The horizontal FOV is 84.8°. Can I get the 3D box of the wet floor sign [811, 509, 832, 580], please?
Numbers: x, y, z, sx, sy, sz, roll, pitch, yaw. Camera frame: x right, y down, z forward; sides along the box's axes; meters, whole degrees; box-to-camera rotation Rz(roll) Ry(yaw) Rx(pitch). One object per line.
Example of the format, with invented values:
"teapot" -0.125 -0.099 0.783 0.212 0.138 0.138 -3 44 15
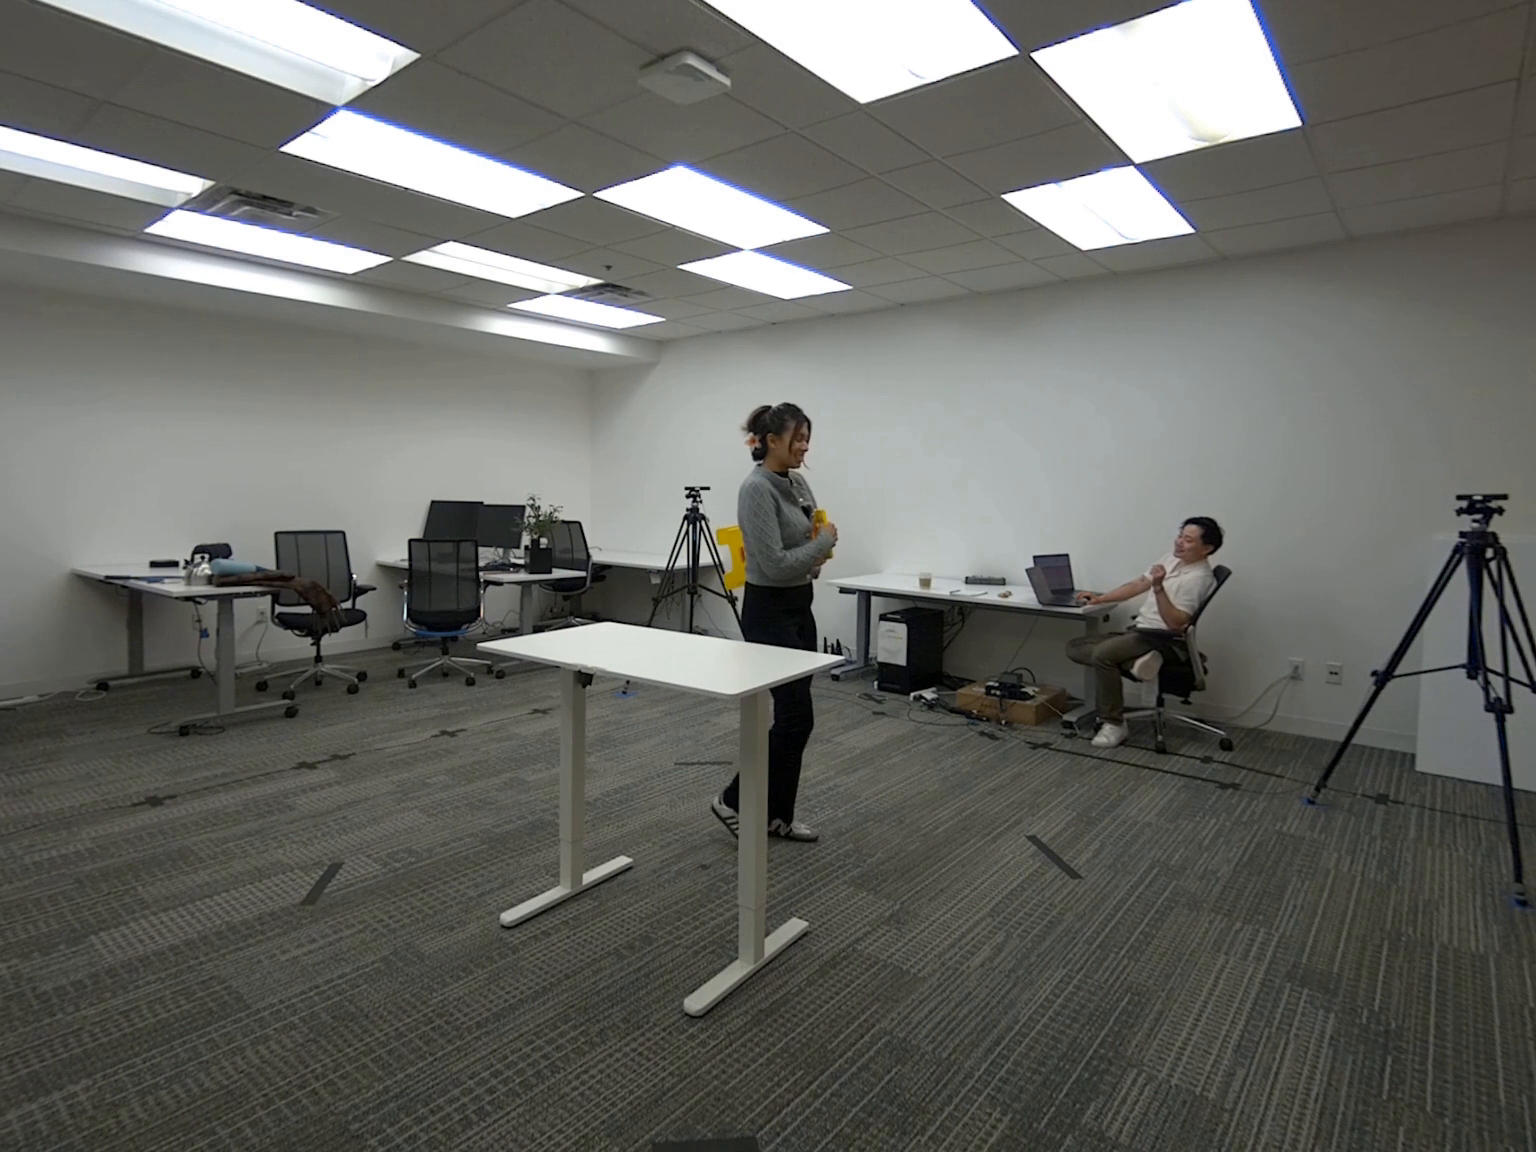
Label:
"wet floor sign" 0.060 -0.131 3.596 0.283 0.284 0.658 -7 -4 -31
